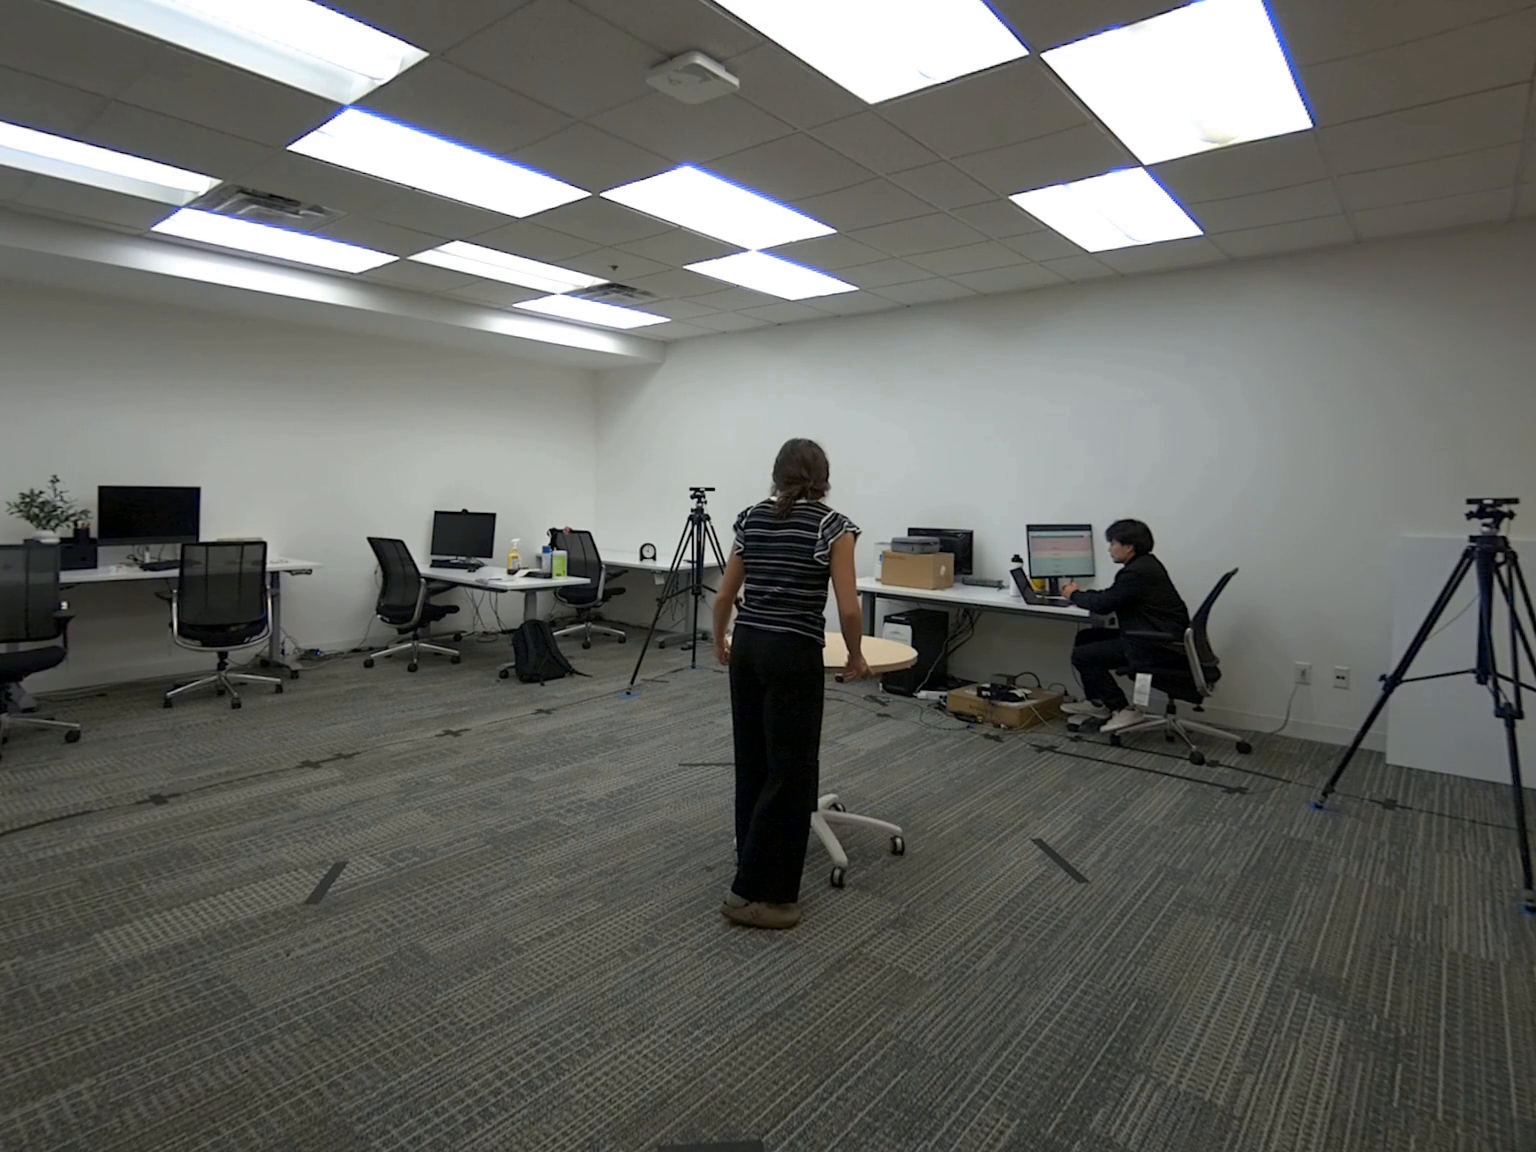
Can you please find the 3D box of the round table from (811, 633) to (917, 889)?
[{"bbox_3d":[0.160,0.656,3.337,0.784,0.784,0.789,2,4,-2],"label":"round table"}]
